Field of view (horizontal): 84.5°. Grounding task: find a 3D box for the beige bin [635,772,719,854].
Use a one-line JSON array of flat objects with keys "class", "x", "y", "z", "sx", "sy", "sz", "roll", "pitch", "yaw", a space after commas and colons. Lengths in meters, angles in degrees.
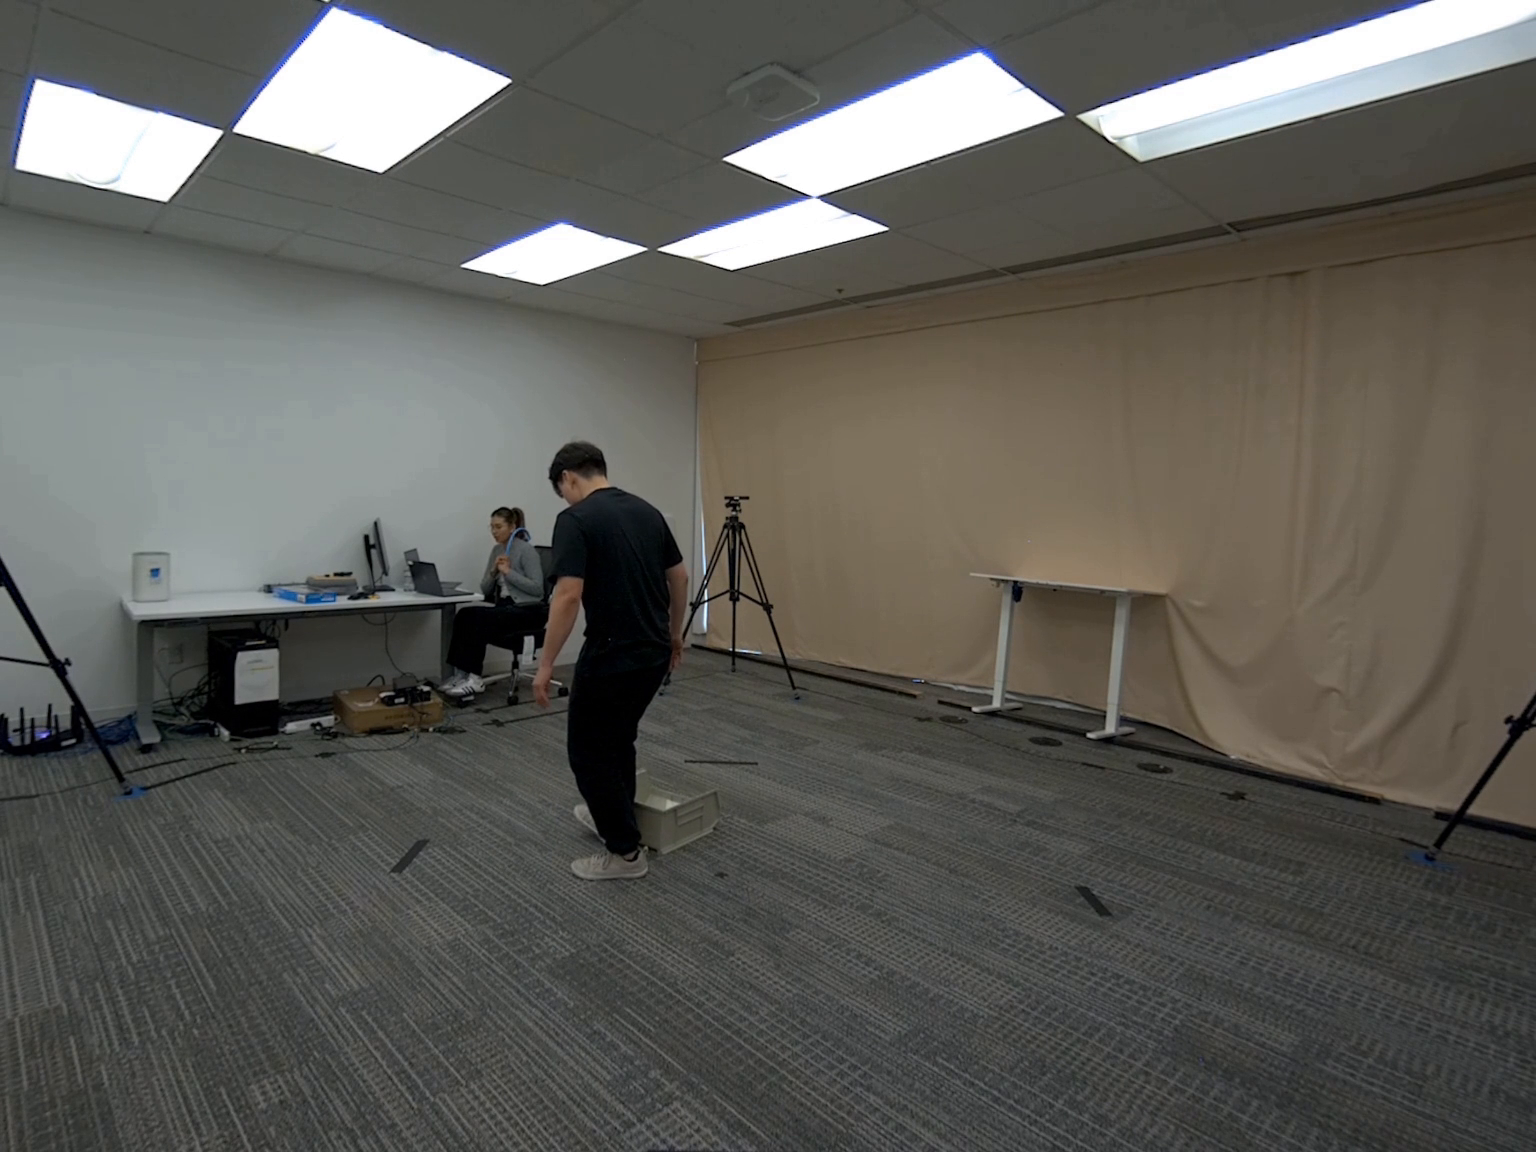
[{"class": "beige bin", "x": -0.476, "y": 0.968, "z": 3.526, "sx": 0.433, "sy": 0.188, "sz": 0.369, "roll": 6, "pitch": 7, "yaw": 36}]
